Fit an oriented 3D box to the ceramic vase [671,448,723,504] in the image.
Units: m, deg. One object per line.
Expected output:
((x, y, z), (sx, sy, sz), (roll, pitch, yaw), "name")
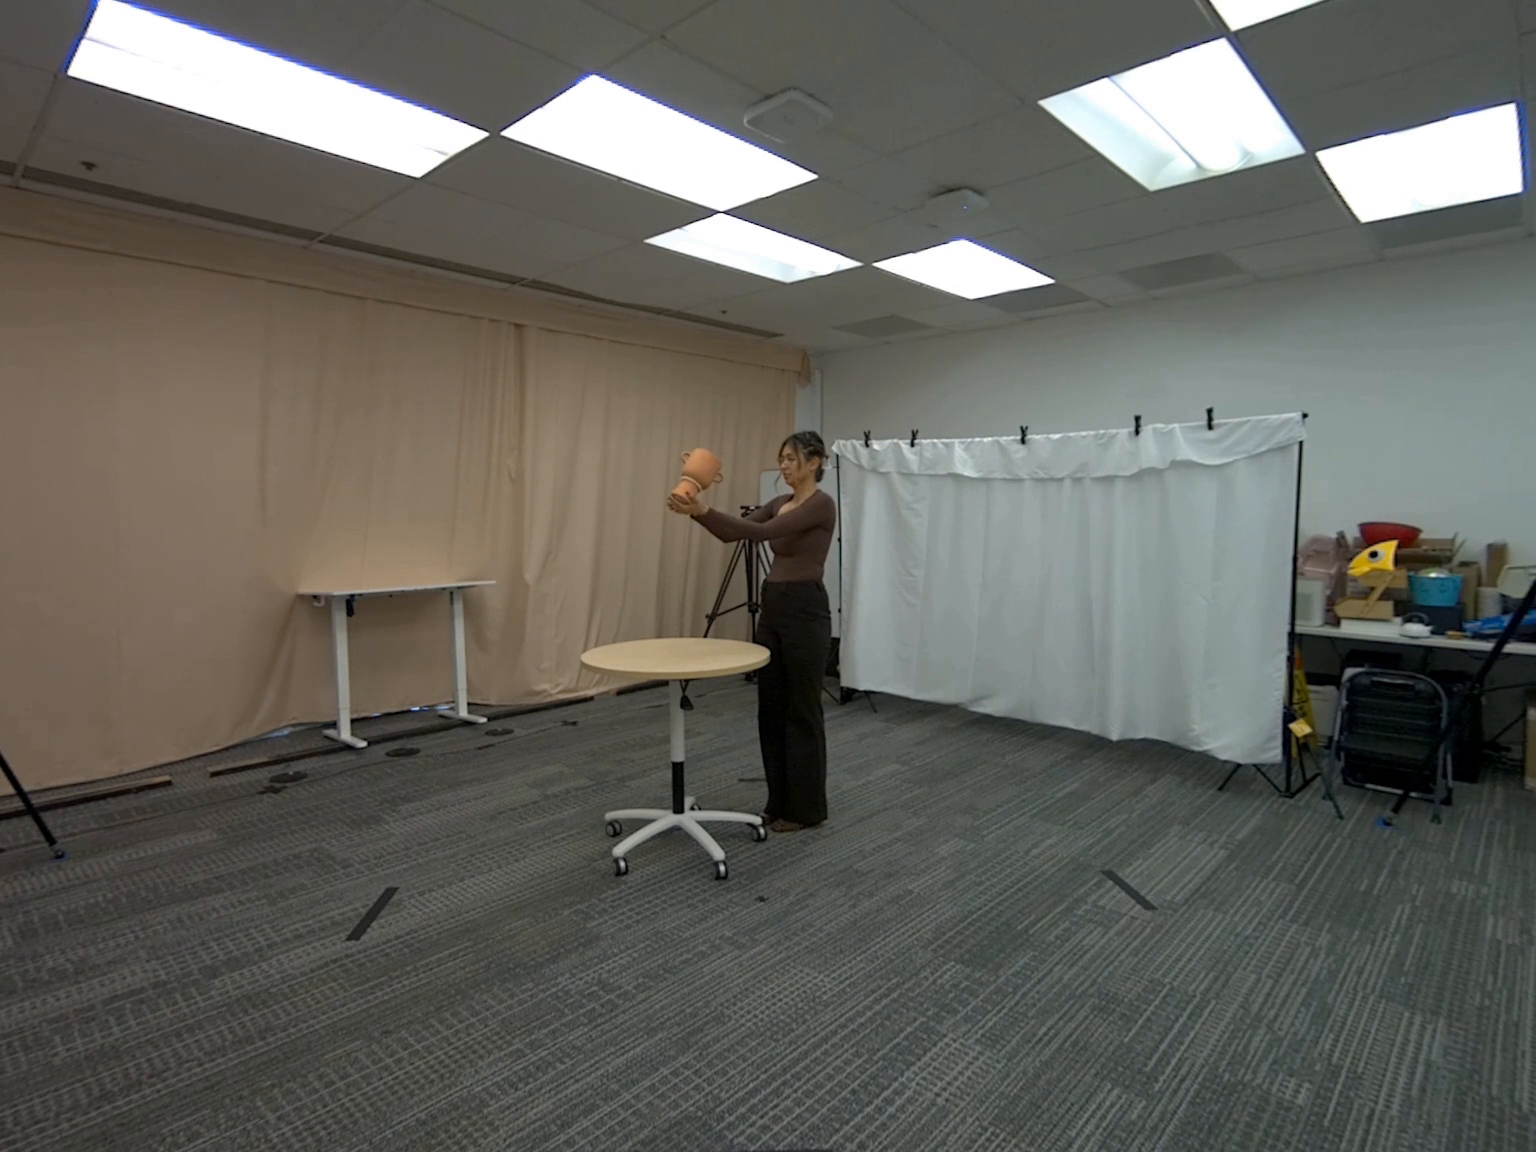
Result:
((-0.293, -0.391, 3.406), (0.164, 0.219, 0.130), (19, -21, 36), "ceramic vase")
